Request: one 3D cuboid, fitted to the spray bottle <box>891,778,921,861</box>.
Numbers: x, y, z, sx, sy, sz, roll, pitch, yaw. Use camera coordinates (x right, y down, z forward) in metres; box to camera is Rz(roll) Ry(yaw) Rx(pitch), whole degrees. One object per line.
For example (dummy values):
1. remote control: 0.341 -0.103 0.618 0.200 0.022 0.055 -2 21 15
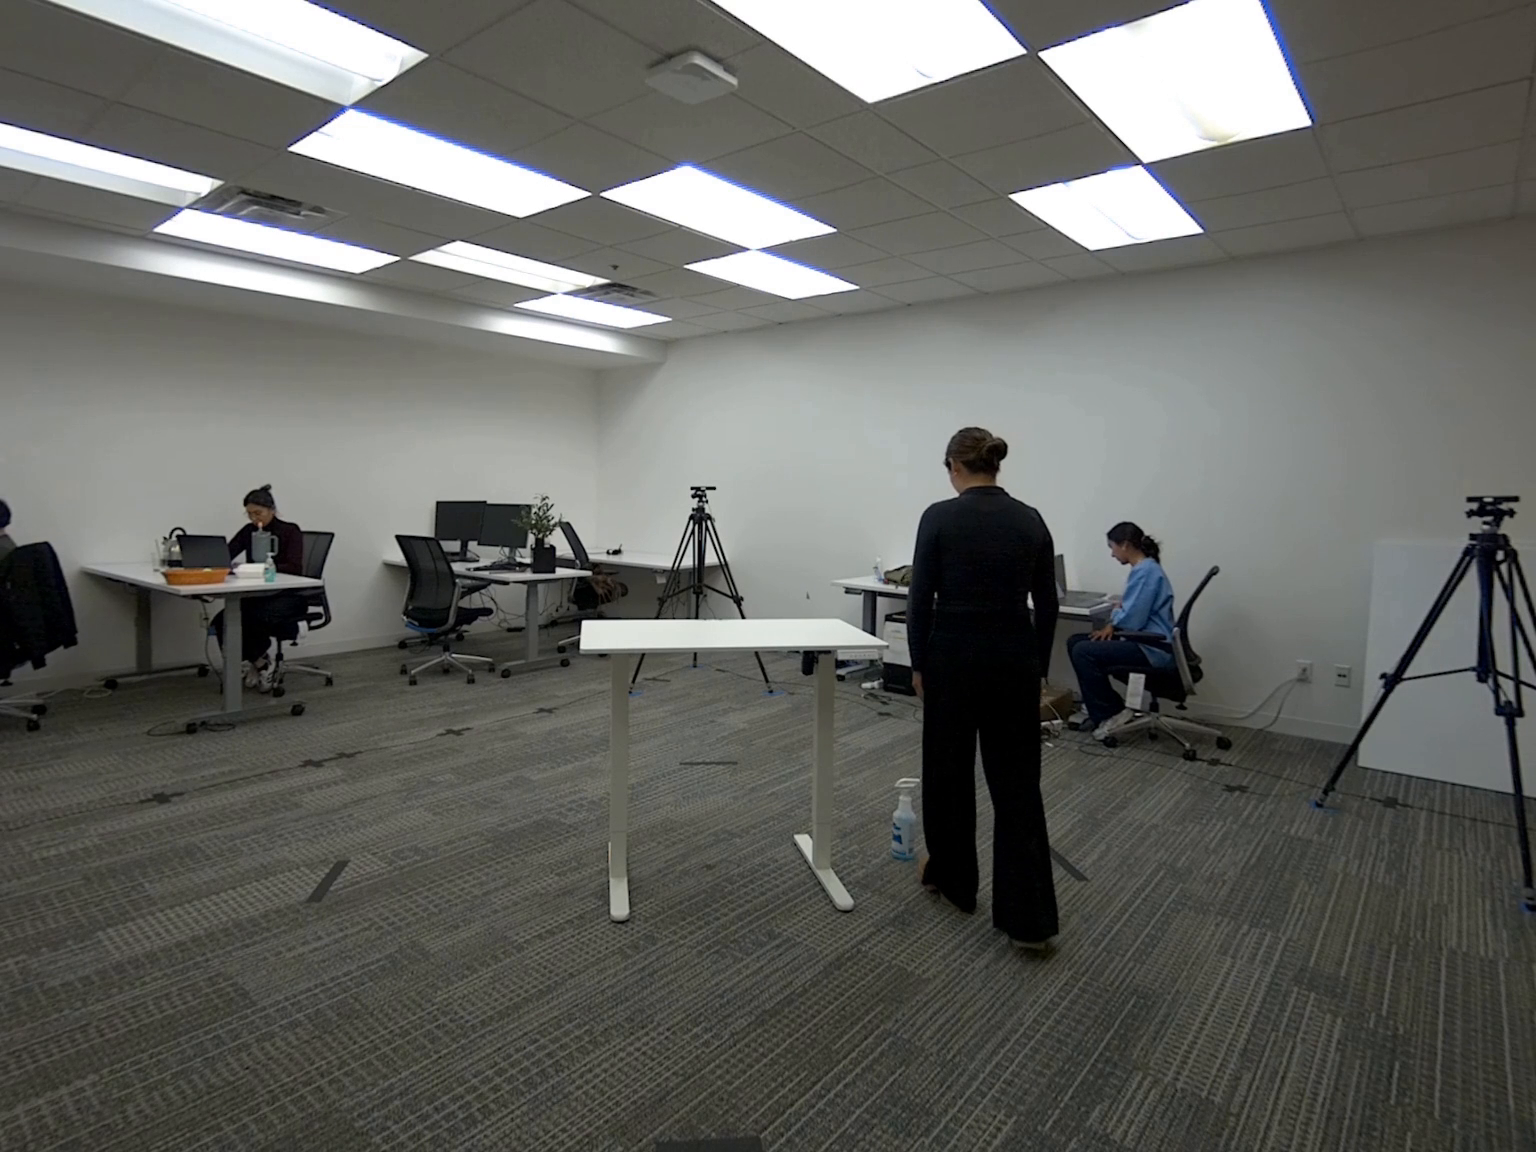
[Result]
1. spray bottle: 0.516 0.921 3.248 0.092 0.297 0.085 4 3 25
